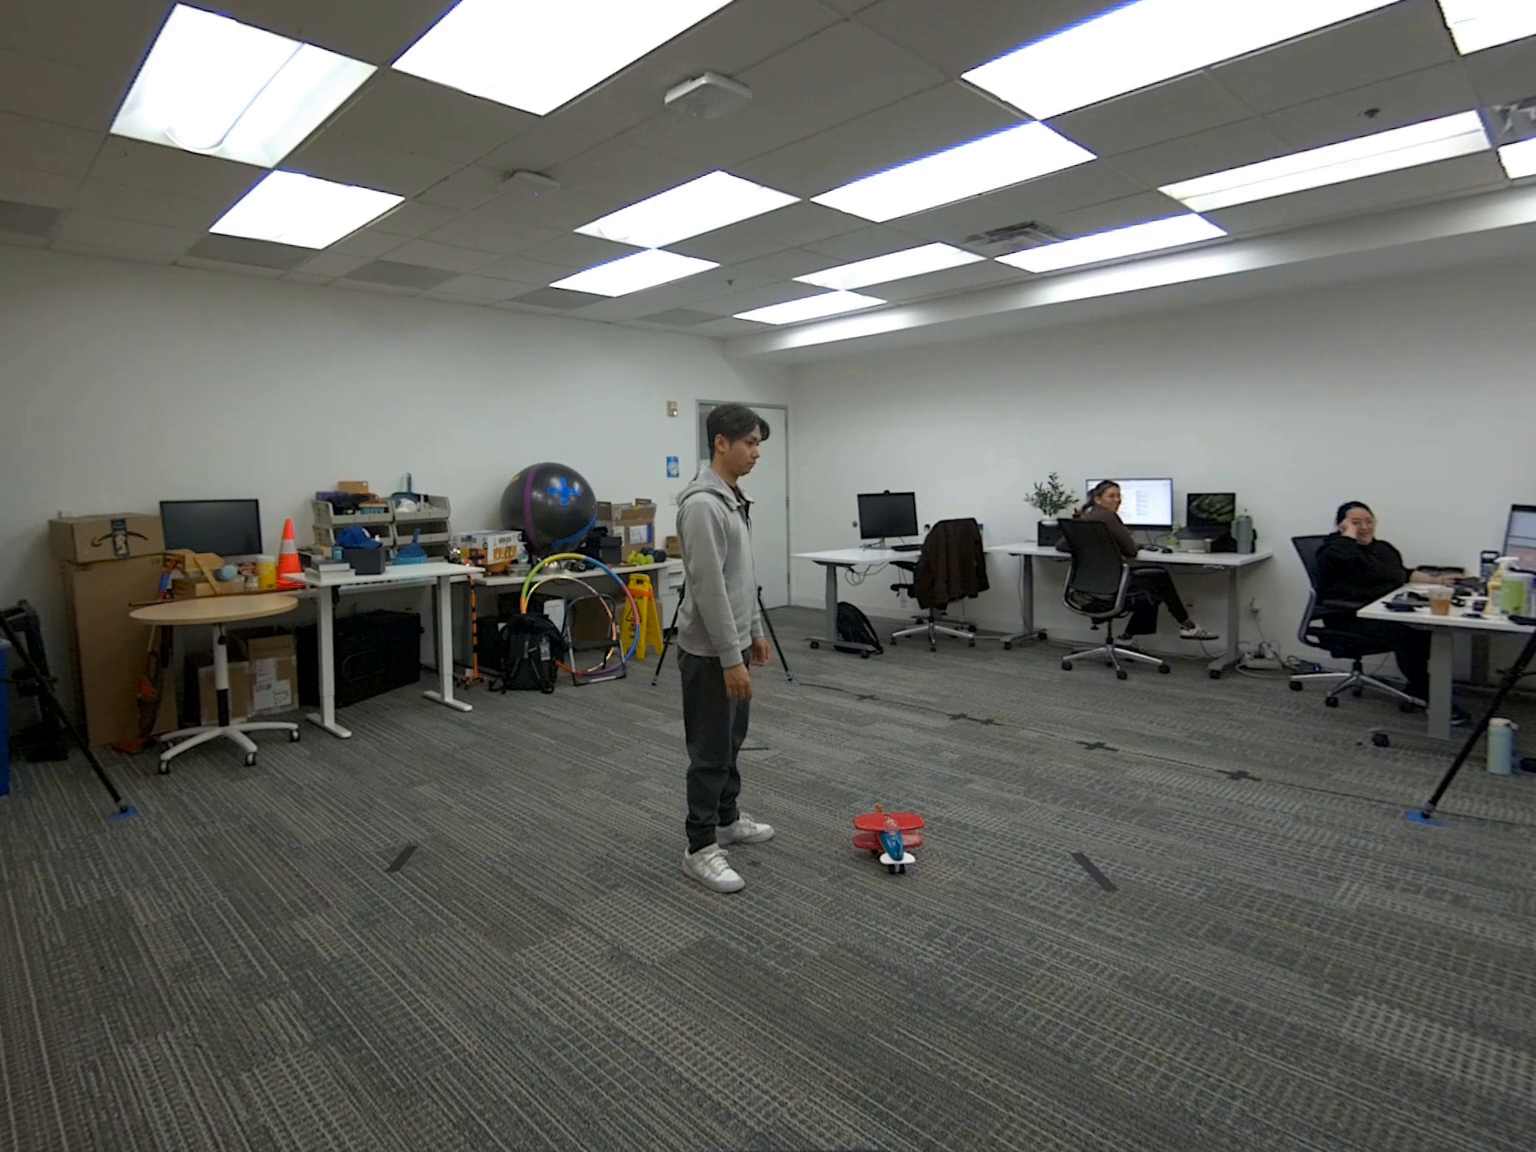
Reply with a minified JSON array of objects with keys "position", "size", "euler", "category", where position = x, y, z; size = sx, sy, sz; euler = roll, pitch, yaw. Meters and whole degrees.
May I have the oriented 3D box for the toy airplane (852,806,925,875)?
[{"position":[0.474,0.972,3.098],"size":[0.245,0.156,0.266],"euler":[-2,6,-27],"category":"toy airplane"}]
